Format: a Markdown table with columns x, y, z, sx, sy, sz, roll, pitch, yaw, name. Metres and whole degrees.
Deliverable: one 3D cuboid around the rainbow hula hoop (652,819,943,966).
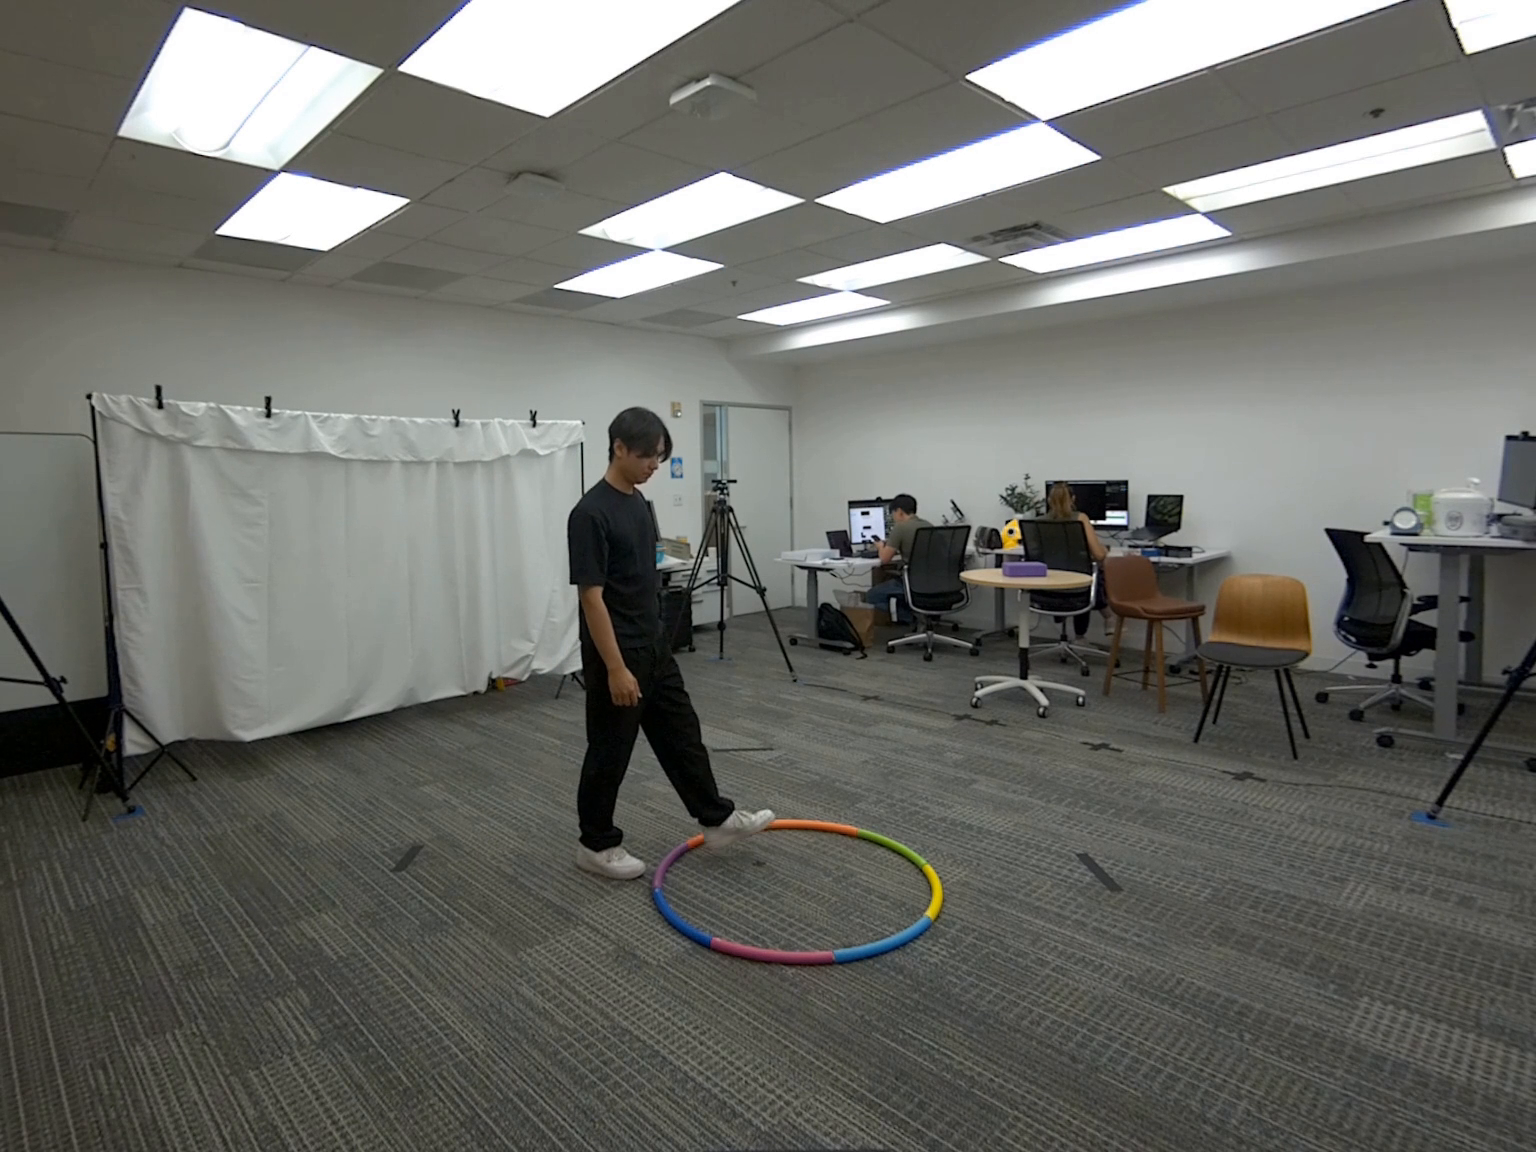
| x | y | z | sx | sy | sz | roll | pitch | yaw | name |
| --- | --- | --- | --- | --- | --- | --- | --- | --- | --- |
| 0.091 | 1.036 | 2.939 | 0.978 | 0.035 | 0.984 | -2 | 7 | -2 | rainbow hula hoop |
